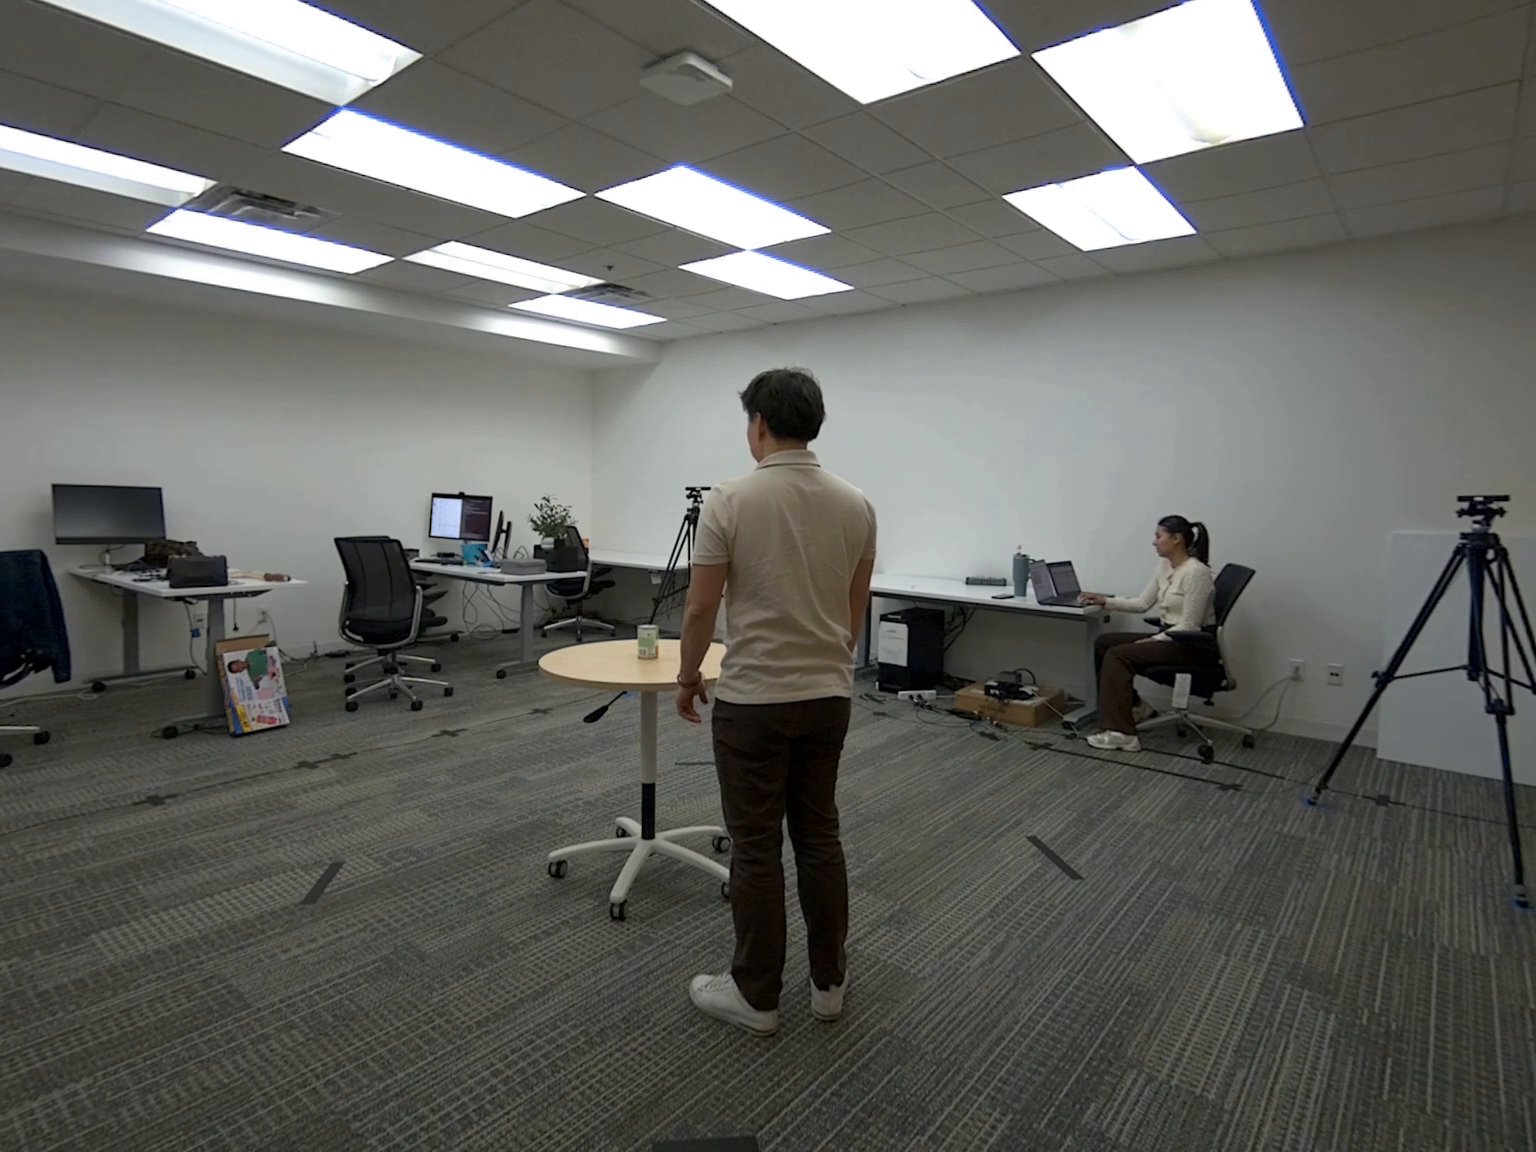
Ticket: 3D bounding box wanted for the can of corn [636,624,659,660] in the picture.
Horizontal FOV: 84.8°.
[{"bbox_3d":[-0.437,0.232,3.015,0.074,0.111,0.074,1,4,-2],"label":"can of corn"}]
